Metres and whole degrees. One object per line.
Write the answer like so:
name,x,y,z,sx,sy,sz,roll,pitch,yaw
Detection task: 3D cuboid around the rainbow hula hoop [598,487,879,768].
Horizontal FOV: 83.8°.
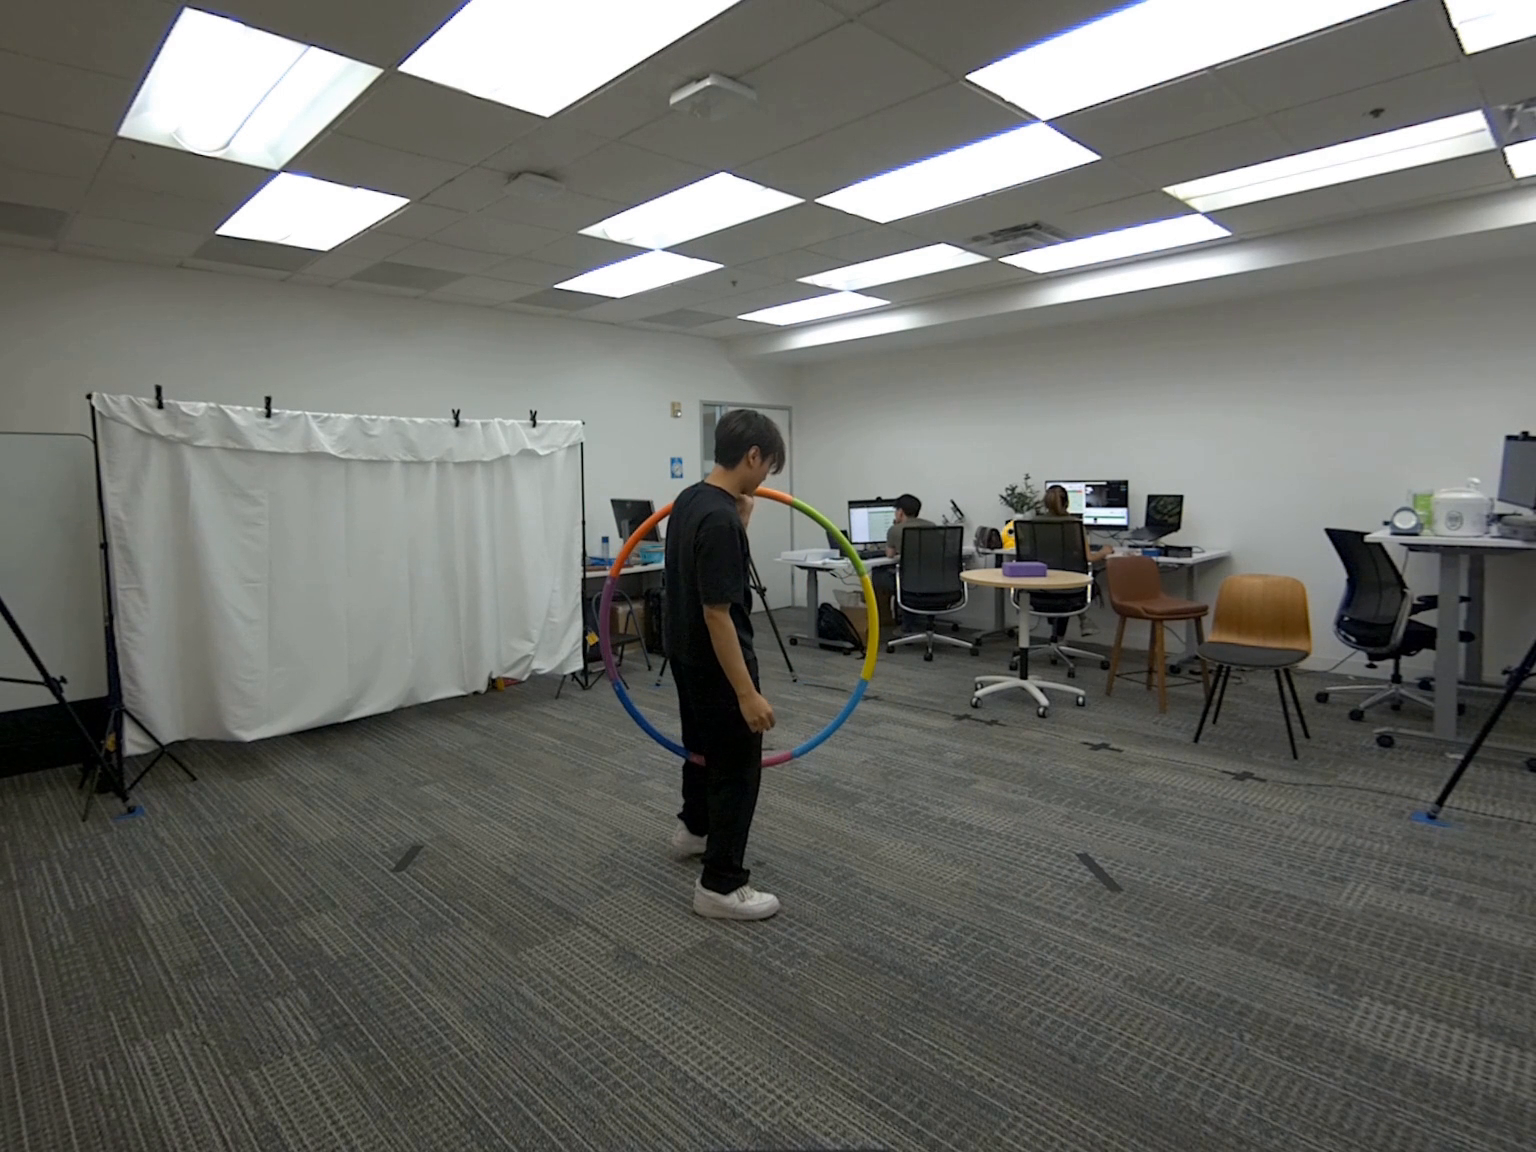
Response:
rainbow hula hoop,-0.100,0.168,2.997,0.977,0.979,0.035,-1,-1,-2
